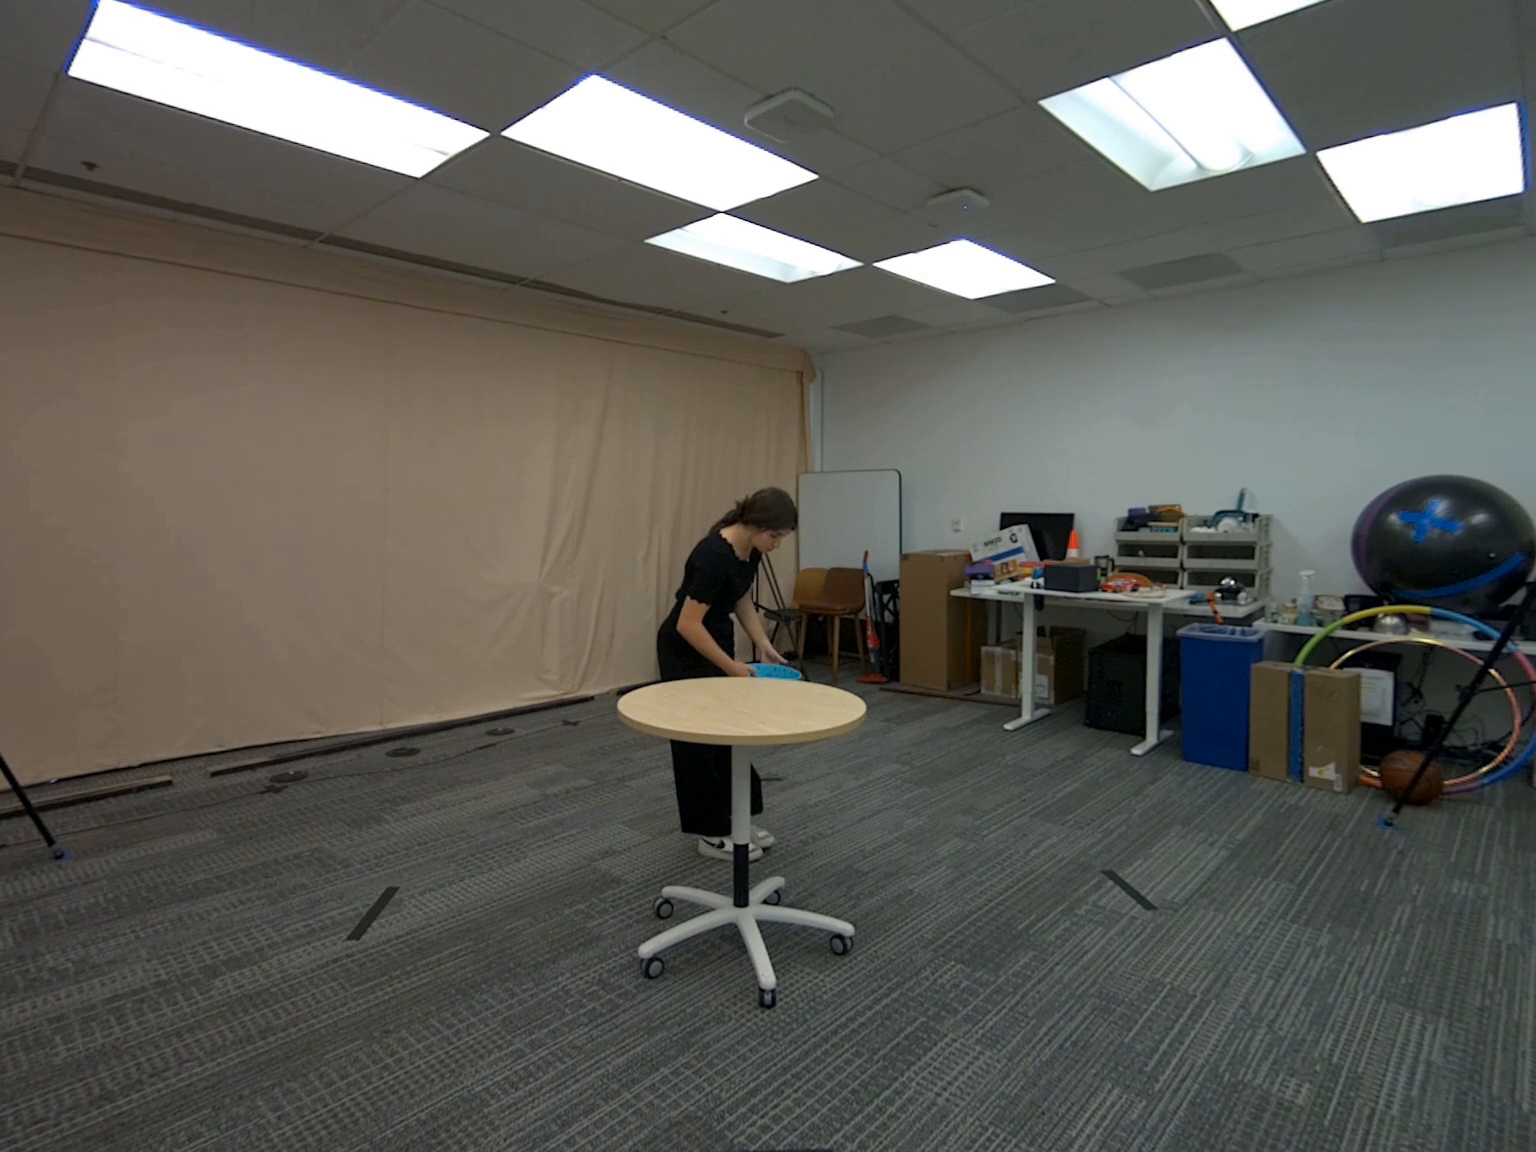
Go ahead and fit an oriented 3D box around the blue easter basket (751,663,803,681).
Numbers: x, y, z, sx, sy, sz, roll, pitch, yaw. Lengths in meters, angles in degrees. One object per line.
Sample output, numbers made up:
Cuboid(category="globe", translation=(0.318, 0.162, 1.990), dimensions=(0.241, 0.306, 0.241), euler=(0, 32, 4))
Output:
Cuboid(category="blue easter basket", translation=(0.010, 0.447, 3.259), dimensions=(0.243, 0.155, 0.245), euler=(5, 6, -2))
